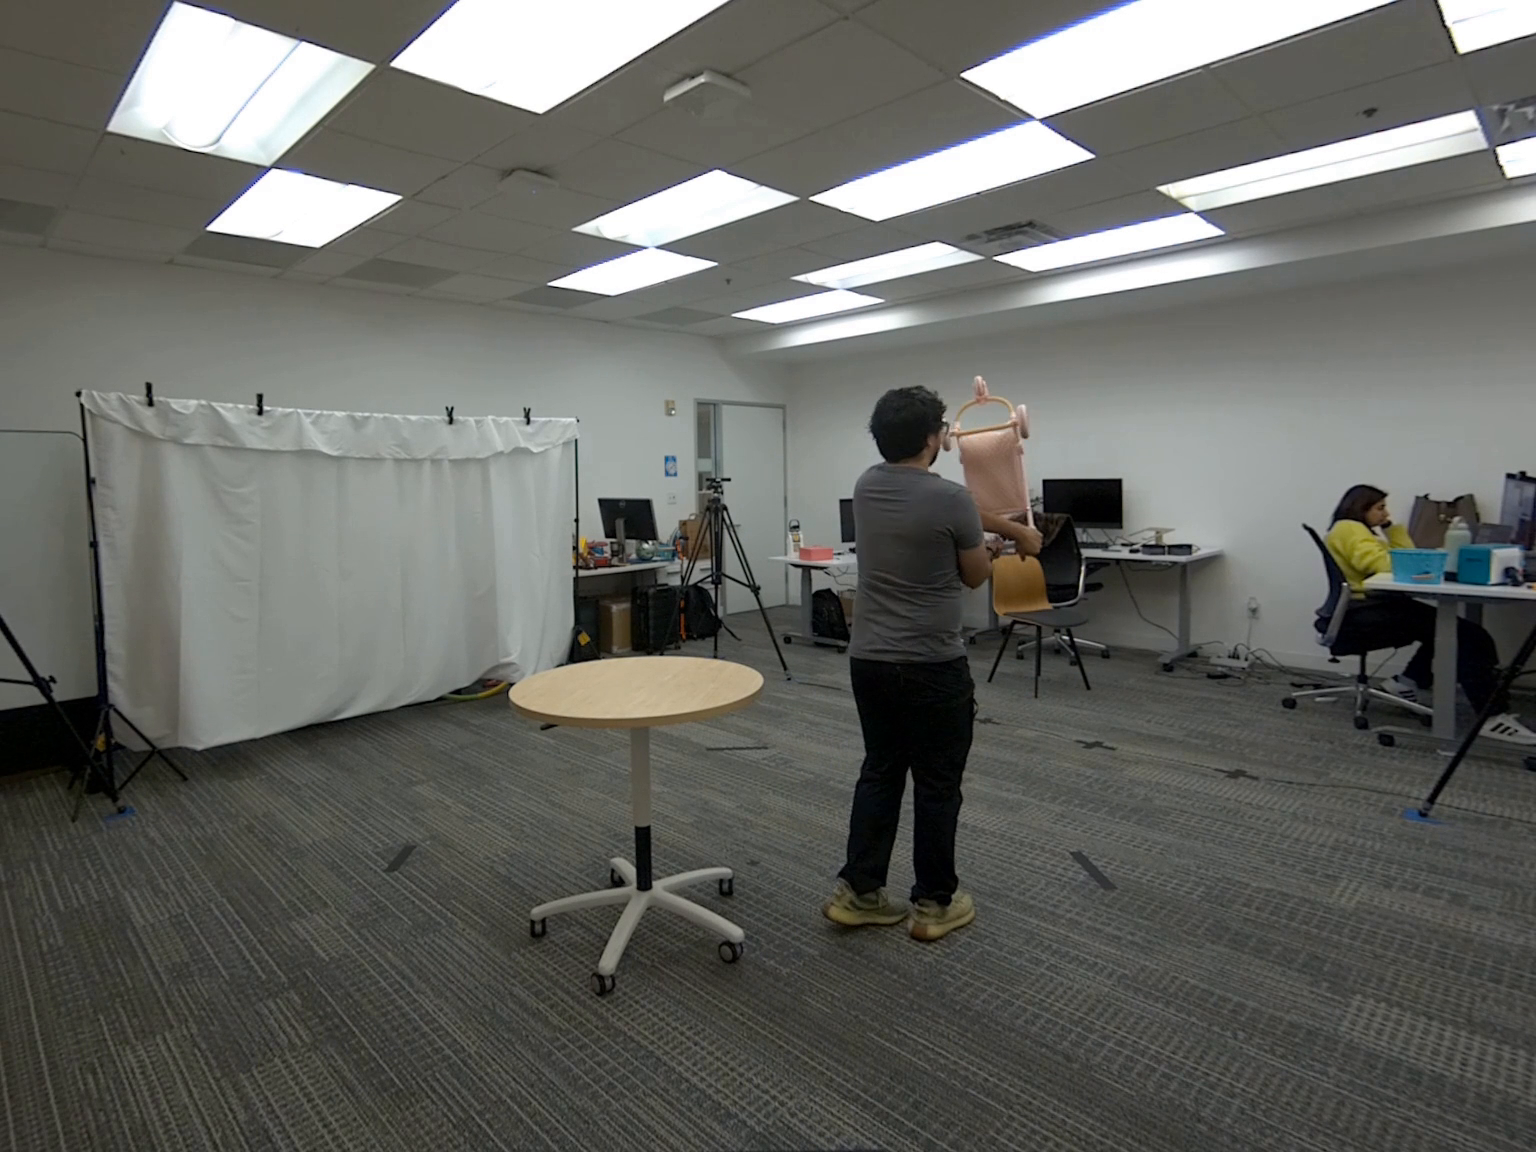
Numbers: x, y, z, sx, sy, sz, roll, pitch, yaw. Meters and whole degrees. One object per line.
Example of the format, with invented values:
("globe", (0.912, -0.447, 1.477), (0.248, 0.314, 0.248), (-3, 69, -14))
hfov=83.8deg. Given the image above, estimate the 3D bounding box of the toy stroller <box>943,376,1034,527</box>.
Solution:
("toy stroller", (0.757, -0.391, 2.923), (0.285, 0.524, 0.344), (-10, 20, 16))
